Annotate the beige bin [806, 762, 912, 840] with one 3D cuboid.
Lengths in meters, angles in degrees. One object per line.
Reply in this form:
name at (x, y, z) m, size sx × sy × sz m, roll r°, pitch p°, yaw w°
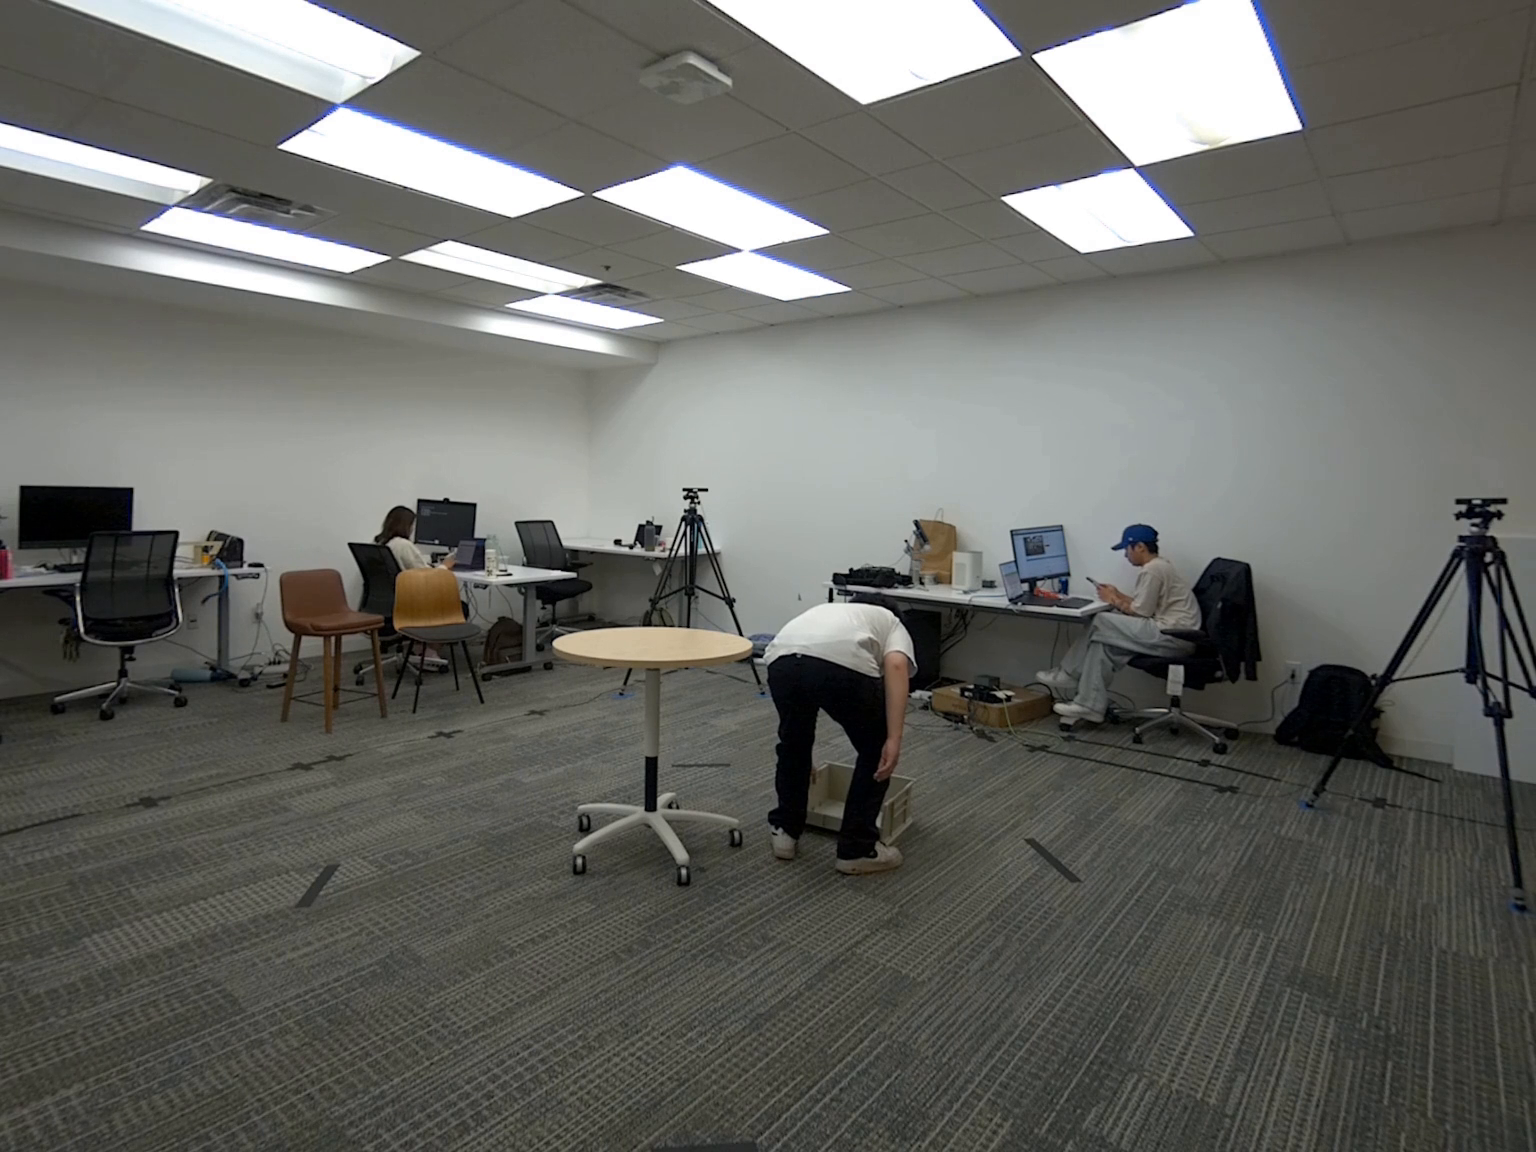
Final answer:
beige bin at (0.346, 0.944, 3.564) m, size 0.435 × 0.188 × 0.367 m, roll 4°, pitch 5°, yaw 30°
